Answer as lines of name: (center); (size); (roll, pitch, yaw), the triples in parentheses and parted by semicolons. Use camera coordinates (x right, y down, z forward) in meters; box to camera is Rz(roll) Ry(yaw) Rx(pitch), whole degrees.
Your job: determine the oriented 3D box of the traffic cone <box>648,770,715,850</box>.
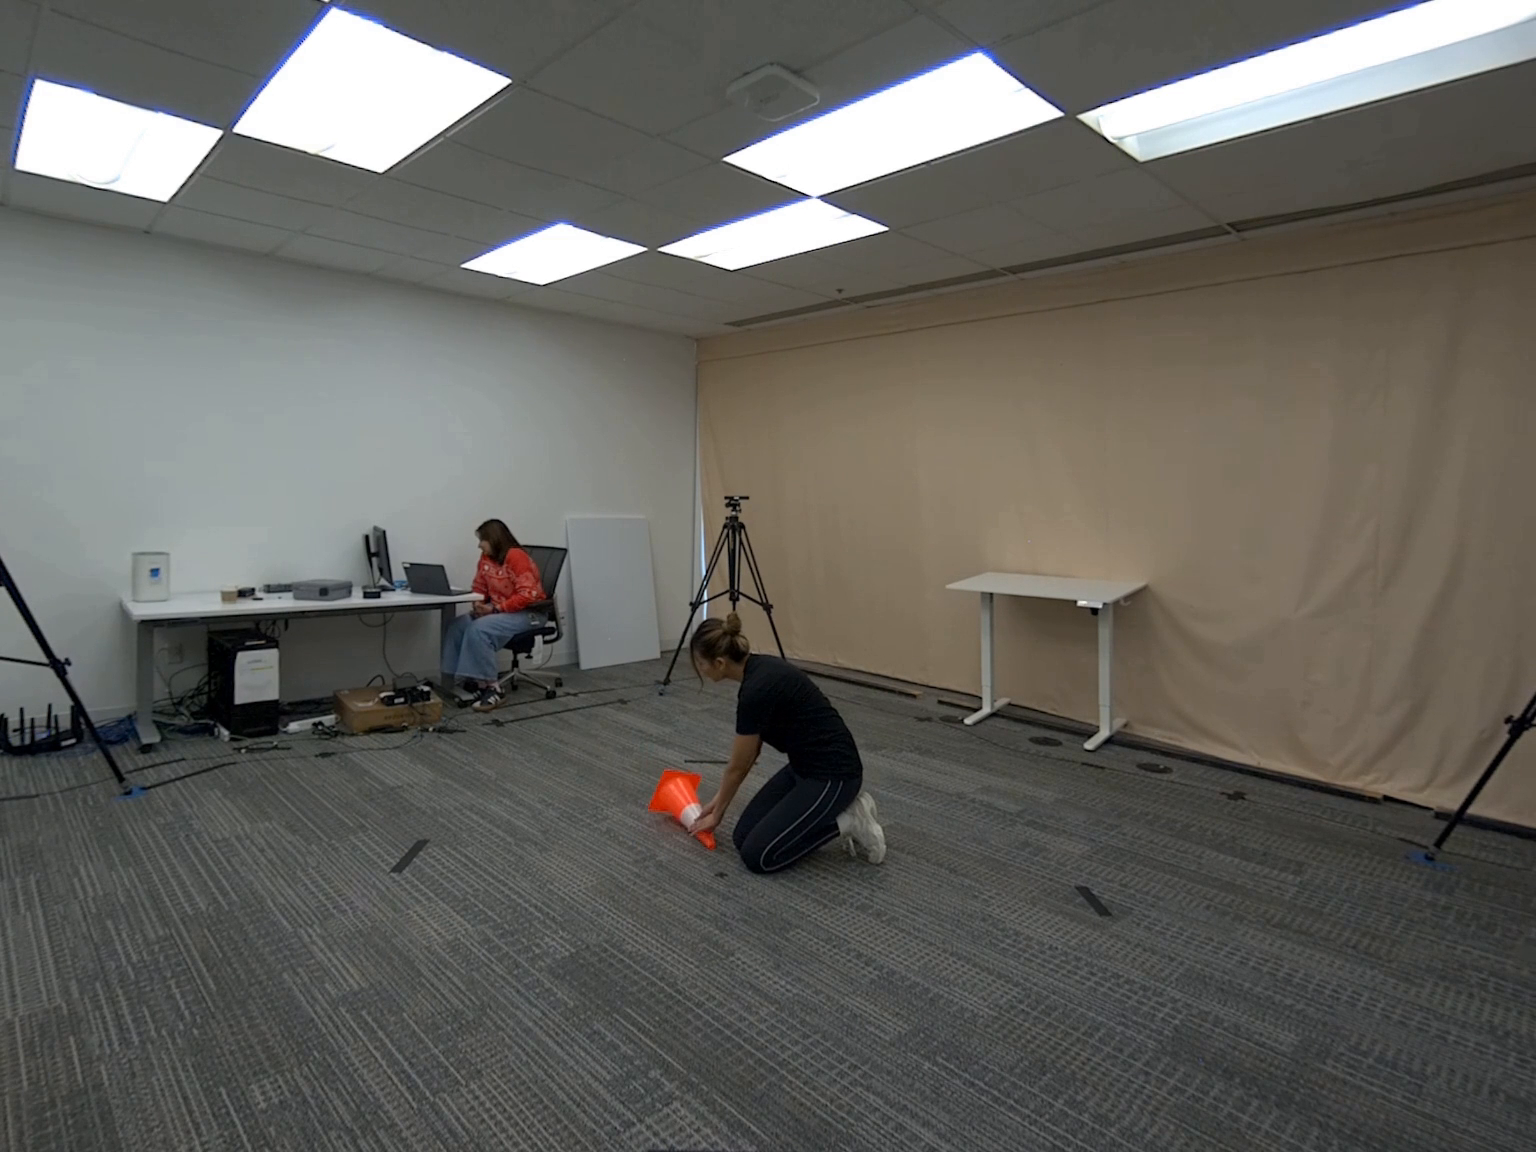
traffic cone: (-0.313, 0.999, 3.489); (0.198, 0.204, 0.395); (17, 10, -34)
